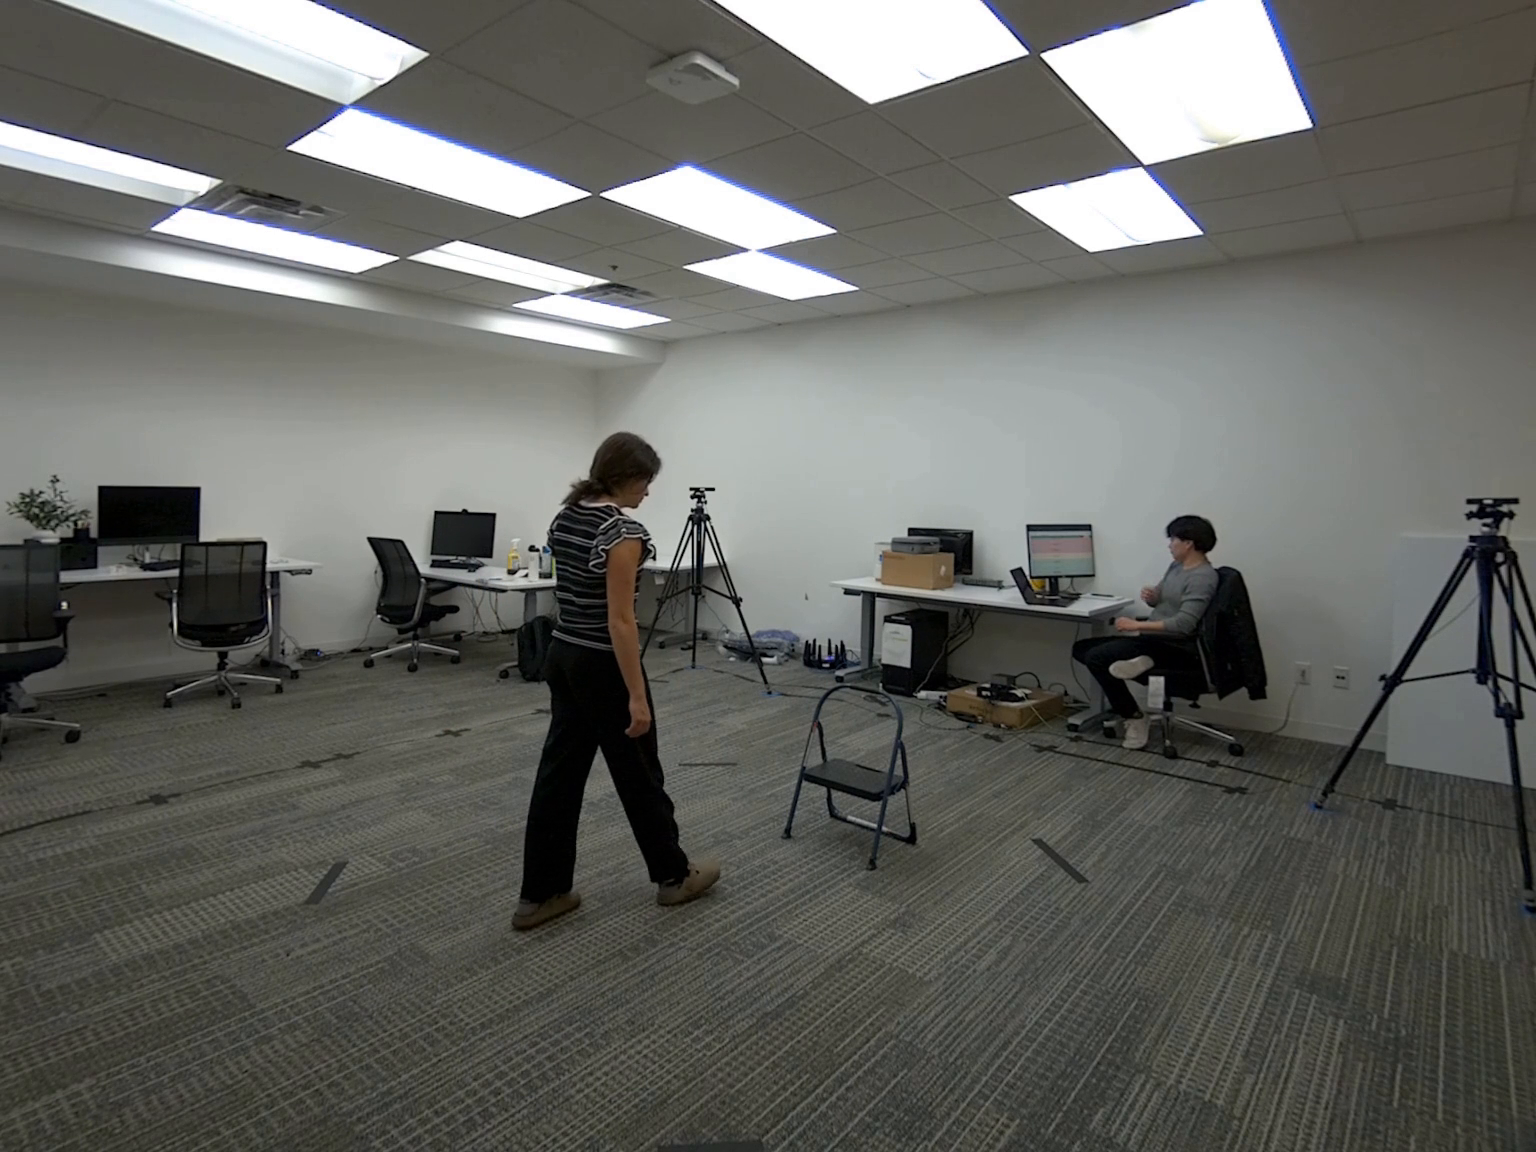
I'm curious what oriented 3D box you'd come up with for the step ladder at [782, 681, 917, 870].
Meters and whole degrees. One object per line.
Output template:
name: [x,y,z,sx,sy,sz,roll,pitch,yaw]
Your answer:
step ladder: [0.326,0.751,3.375,0.445,0.604,0.339,5,5,40]
